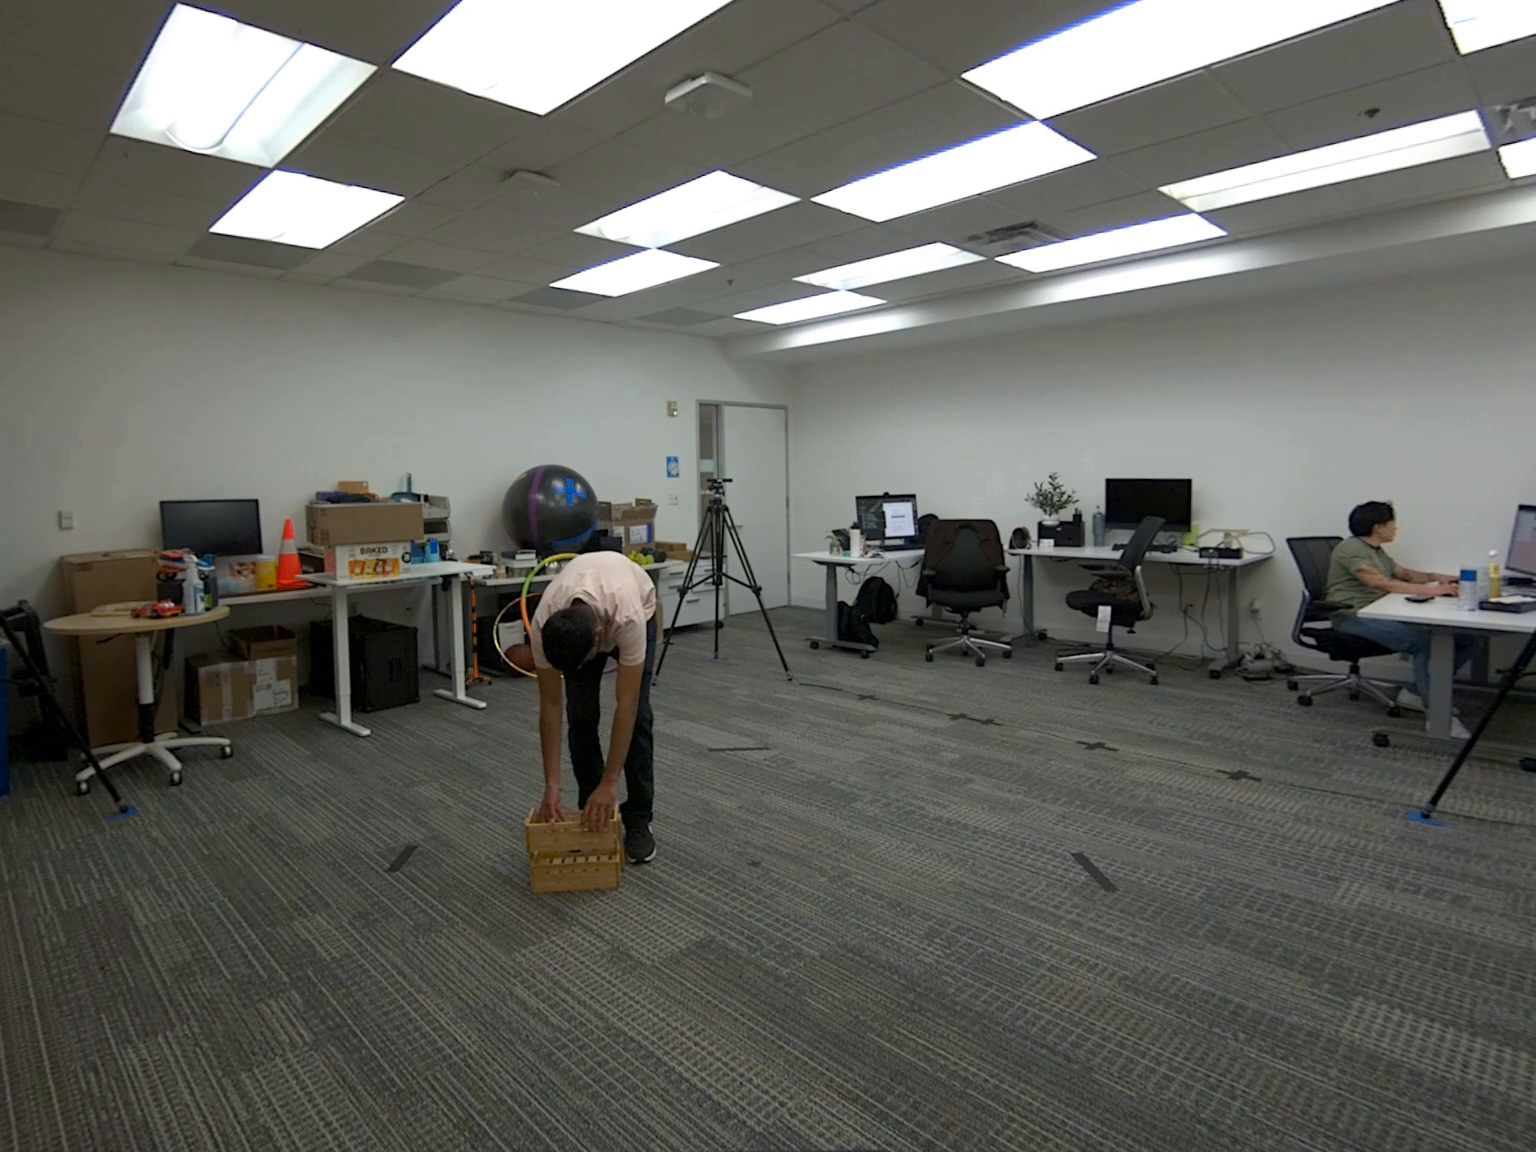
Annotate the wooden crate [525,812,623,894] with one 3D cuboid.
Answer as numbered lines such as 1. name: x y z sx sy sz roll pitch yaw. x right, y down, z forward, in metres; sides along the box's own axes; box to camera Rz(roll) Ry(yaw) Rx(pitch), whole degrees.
1. wooden crate: -0.678 0.937 3.018 0.323 0.272 0.305 -2 7 -6
